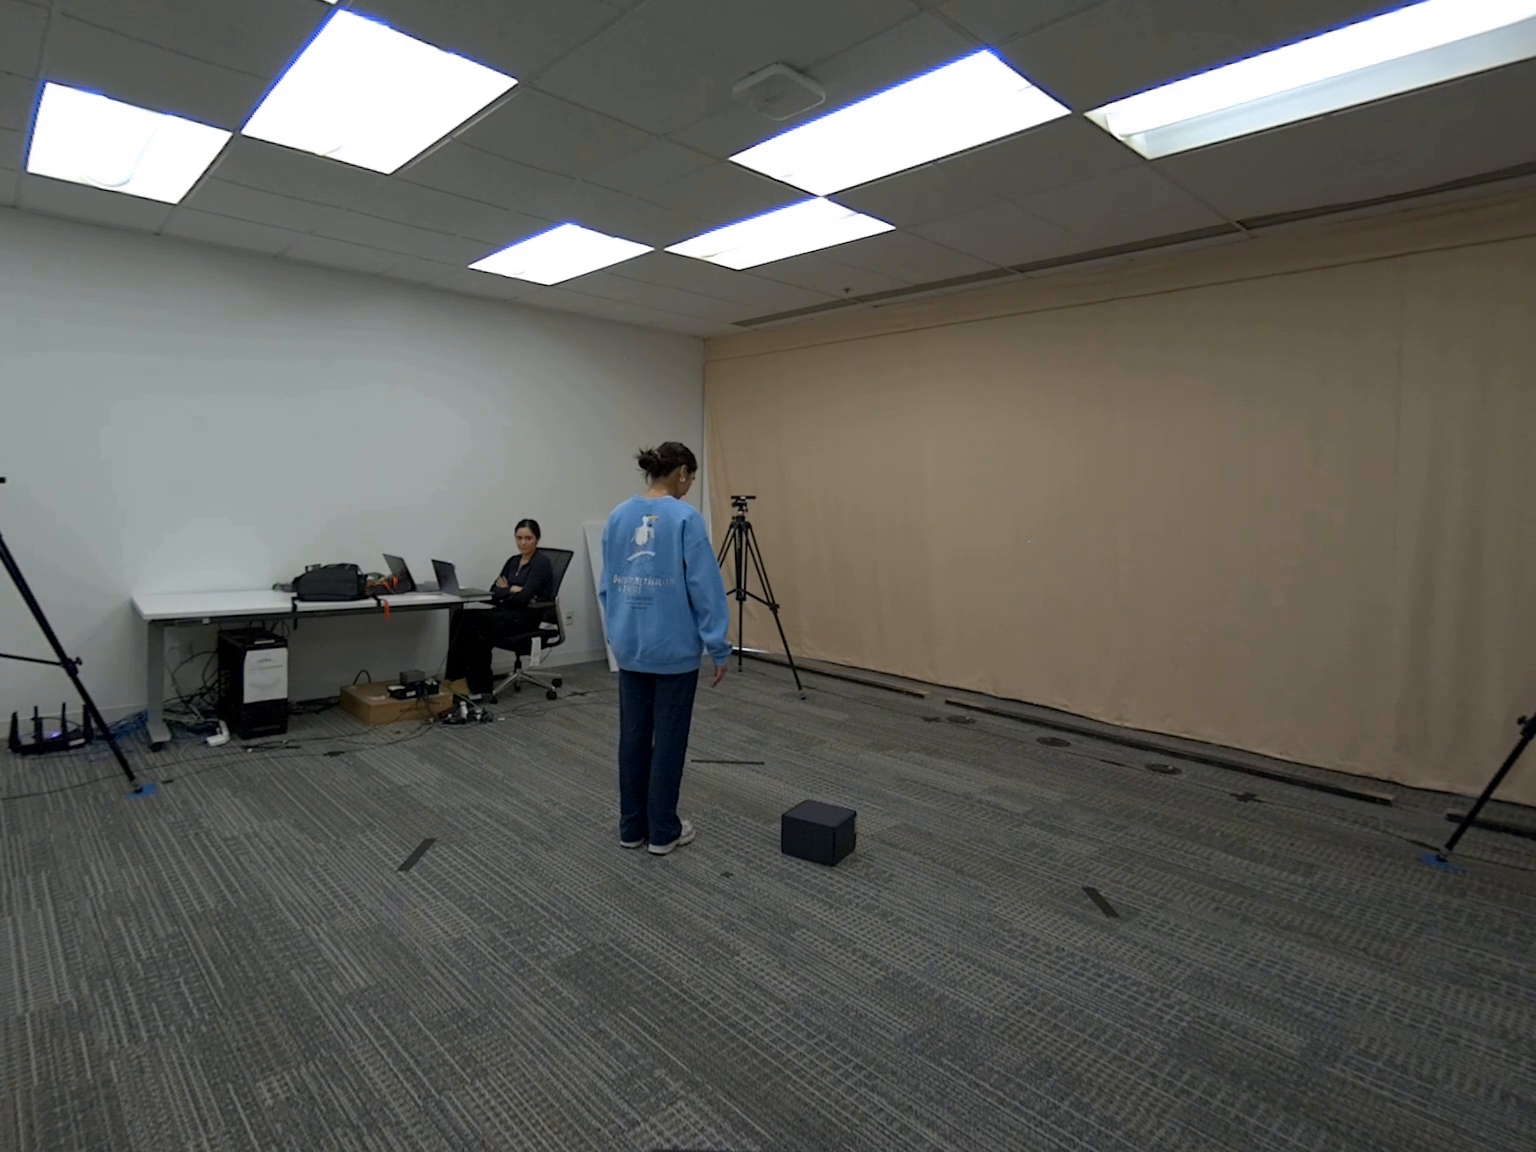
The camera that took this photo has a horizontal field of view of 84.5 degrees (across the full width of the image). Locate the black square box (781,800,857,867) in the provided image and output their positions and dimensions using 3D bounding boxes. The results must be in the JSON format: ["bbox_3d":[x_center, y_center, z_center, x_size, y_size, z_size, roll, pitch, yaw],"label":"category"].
[{"bbox_3d":[0.195,1.006,3.322,0.233,0.155,0.213,4,5,30],"label":"black square box"}]
